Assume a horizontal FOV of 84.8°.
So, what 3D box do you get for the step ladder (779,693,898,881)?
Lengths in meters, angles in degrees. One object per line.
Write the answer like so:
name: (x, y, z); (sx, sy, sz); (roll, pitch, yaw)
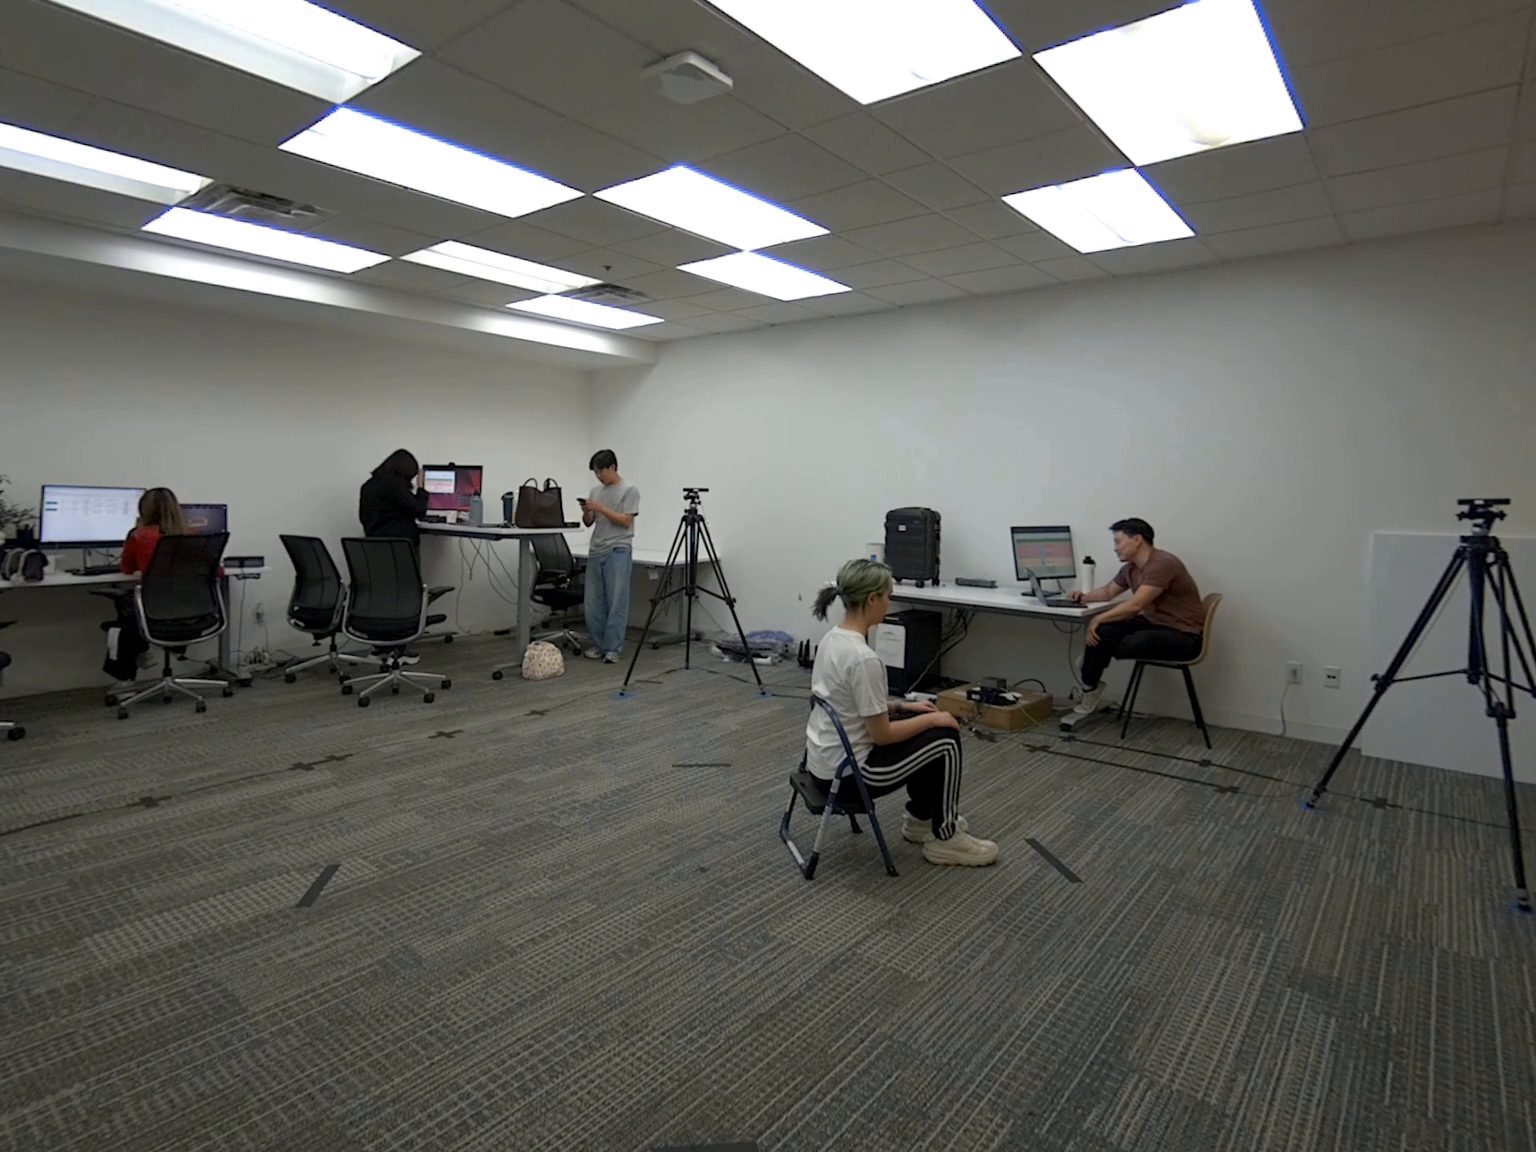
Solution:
step ladder: (0.256, 0.769, 3.258); (0.345, 0.604, 0.437); (1, 4, -12)
